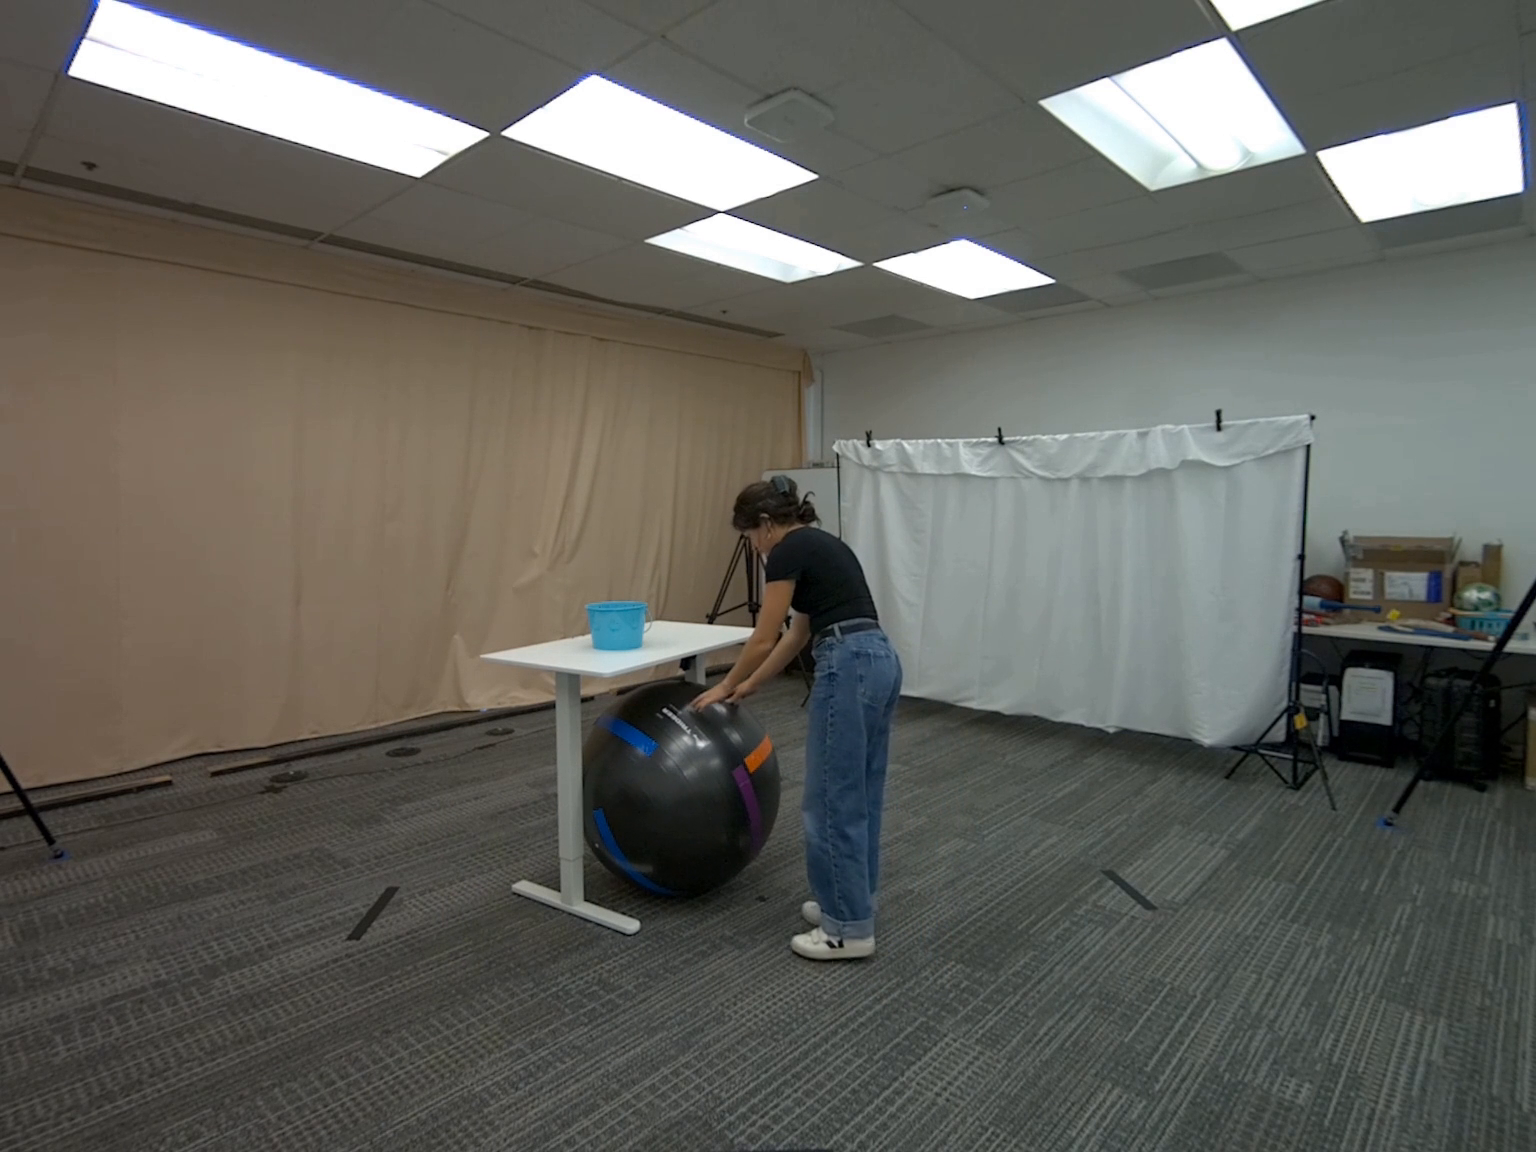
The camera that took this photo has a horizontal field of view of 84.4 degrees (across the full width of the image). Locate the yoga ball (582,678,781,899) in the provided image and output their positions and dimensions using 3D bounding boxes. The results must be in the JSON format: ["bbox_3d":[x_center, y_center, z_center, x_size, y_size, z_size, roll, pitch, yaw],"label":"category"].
[{"bbox_3d":[-0.333,0.775,3.097,0.757,0.756,0.760,0,4,-2],"label":"yoga ball"}]
